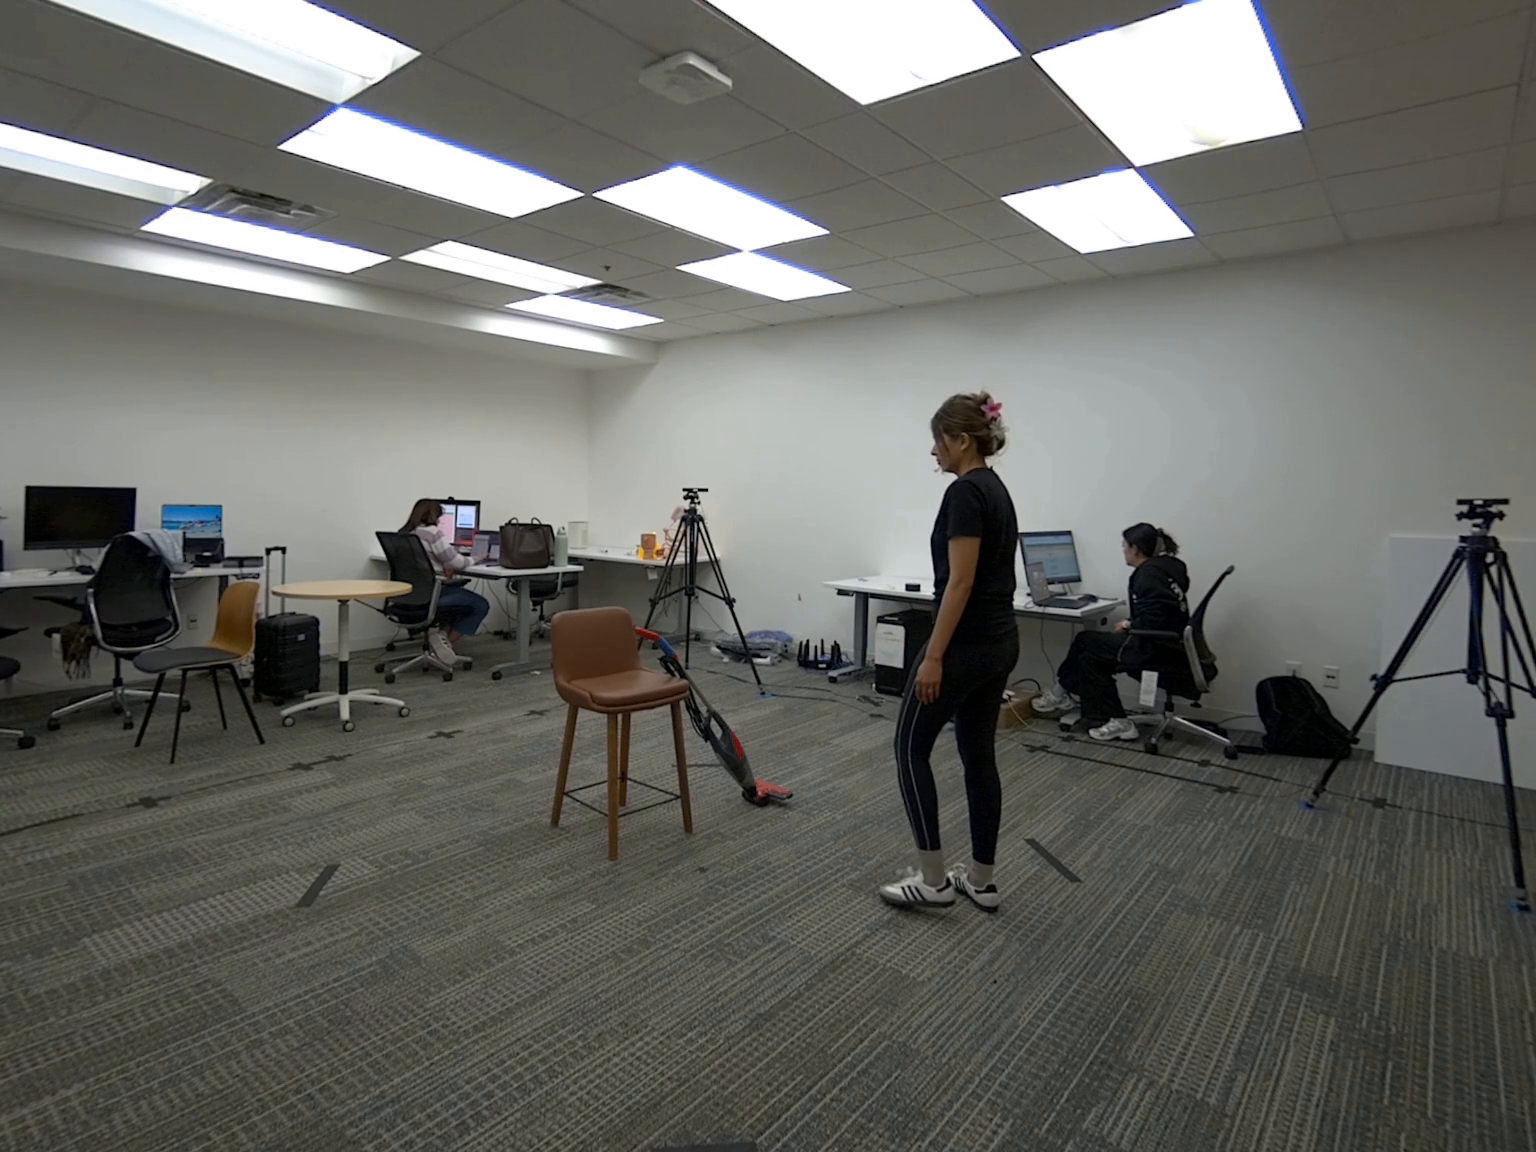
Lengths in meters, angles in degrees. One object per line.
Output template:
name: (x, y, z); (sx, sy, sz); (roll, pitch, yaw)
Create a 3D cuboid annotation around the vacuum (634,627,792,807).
vacuum: (-0.268, 0.602, 3.618); (0.260, 1.017, 0.144); (0, 41, 49)
